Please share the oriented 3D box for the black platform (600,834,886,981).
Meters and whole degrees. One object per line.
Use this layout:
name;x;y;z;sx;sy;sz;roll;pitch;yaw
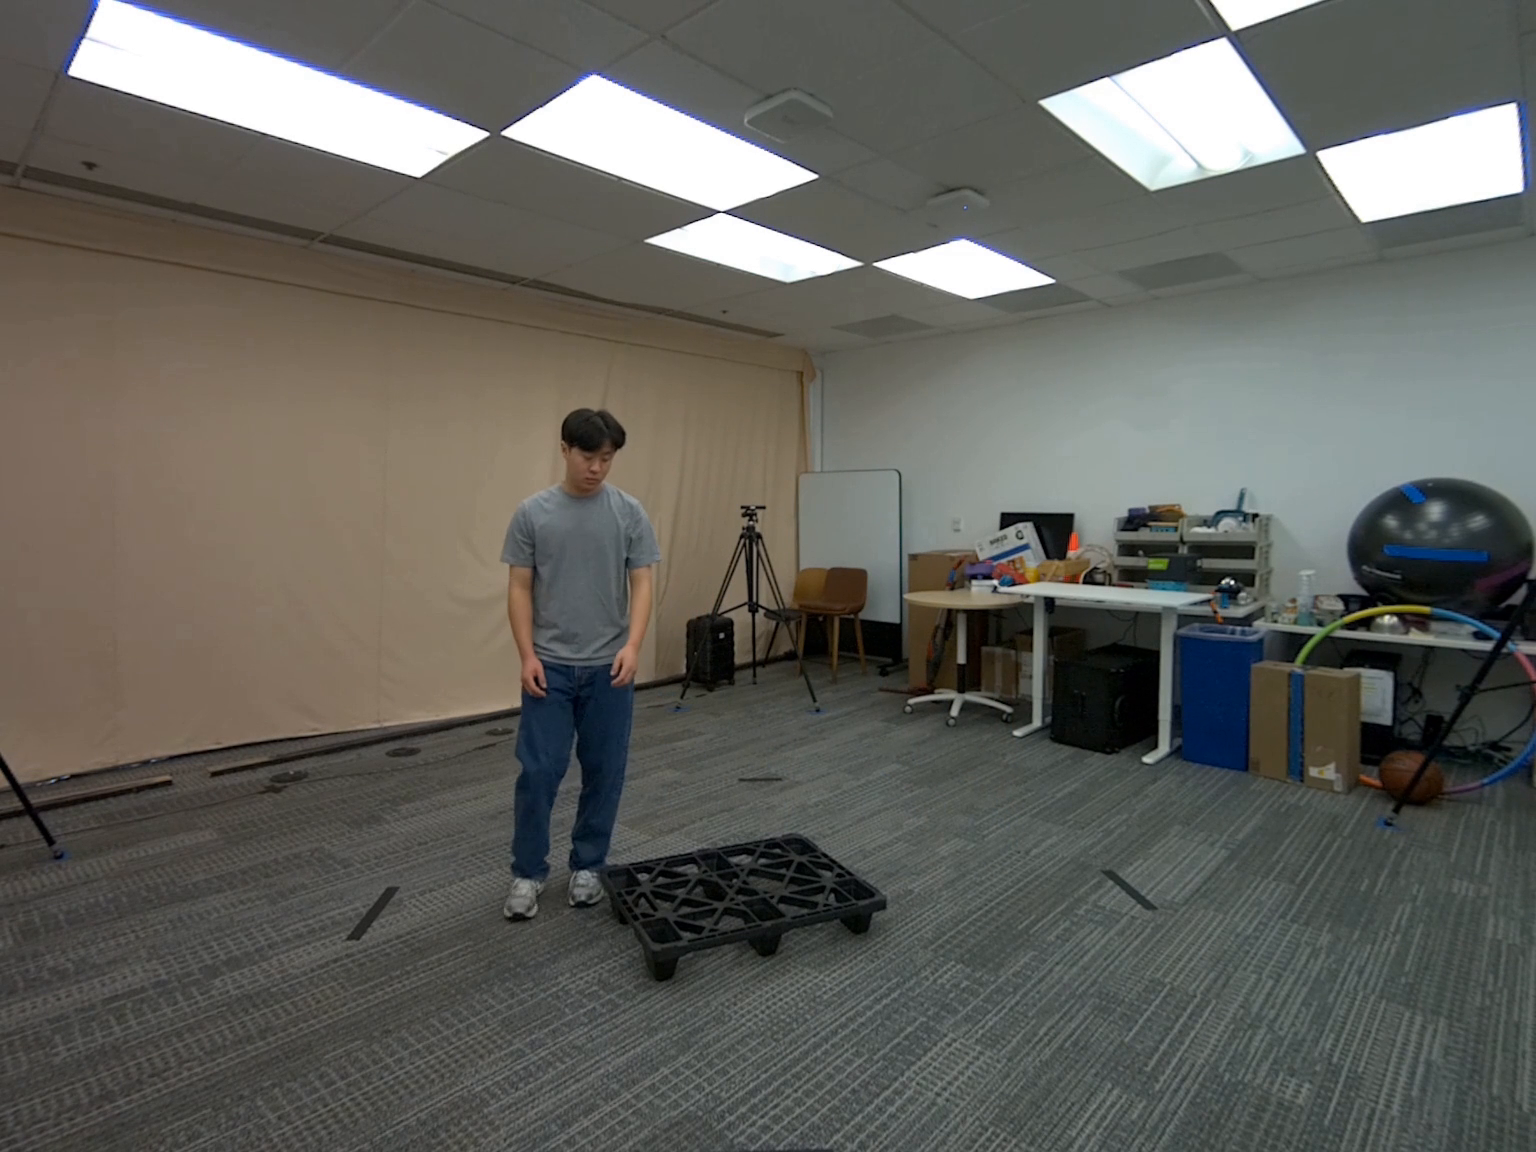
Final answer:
black platform;-0.104;1.090;2.815;0.787;0.143;0.621;-2;4;-25
